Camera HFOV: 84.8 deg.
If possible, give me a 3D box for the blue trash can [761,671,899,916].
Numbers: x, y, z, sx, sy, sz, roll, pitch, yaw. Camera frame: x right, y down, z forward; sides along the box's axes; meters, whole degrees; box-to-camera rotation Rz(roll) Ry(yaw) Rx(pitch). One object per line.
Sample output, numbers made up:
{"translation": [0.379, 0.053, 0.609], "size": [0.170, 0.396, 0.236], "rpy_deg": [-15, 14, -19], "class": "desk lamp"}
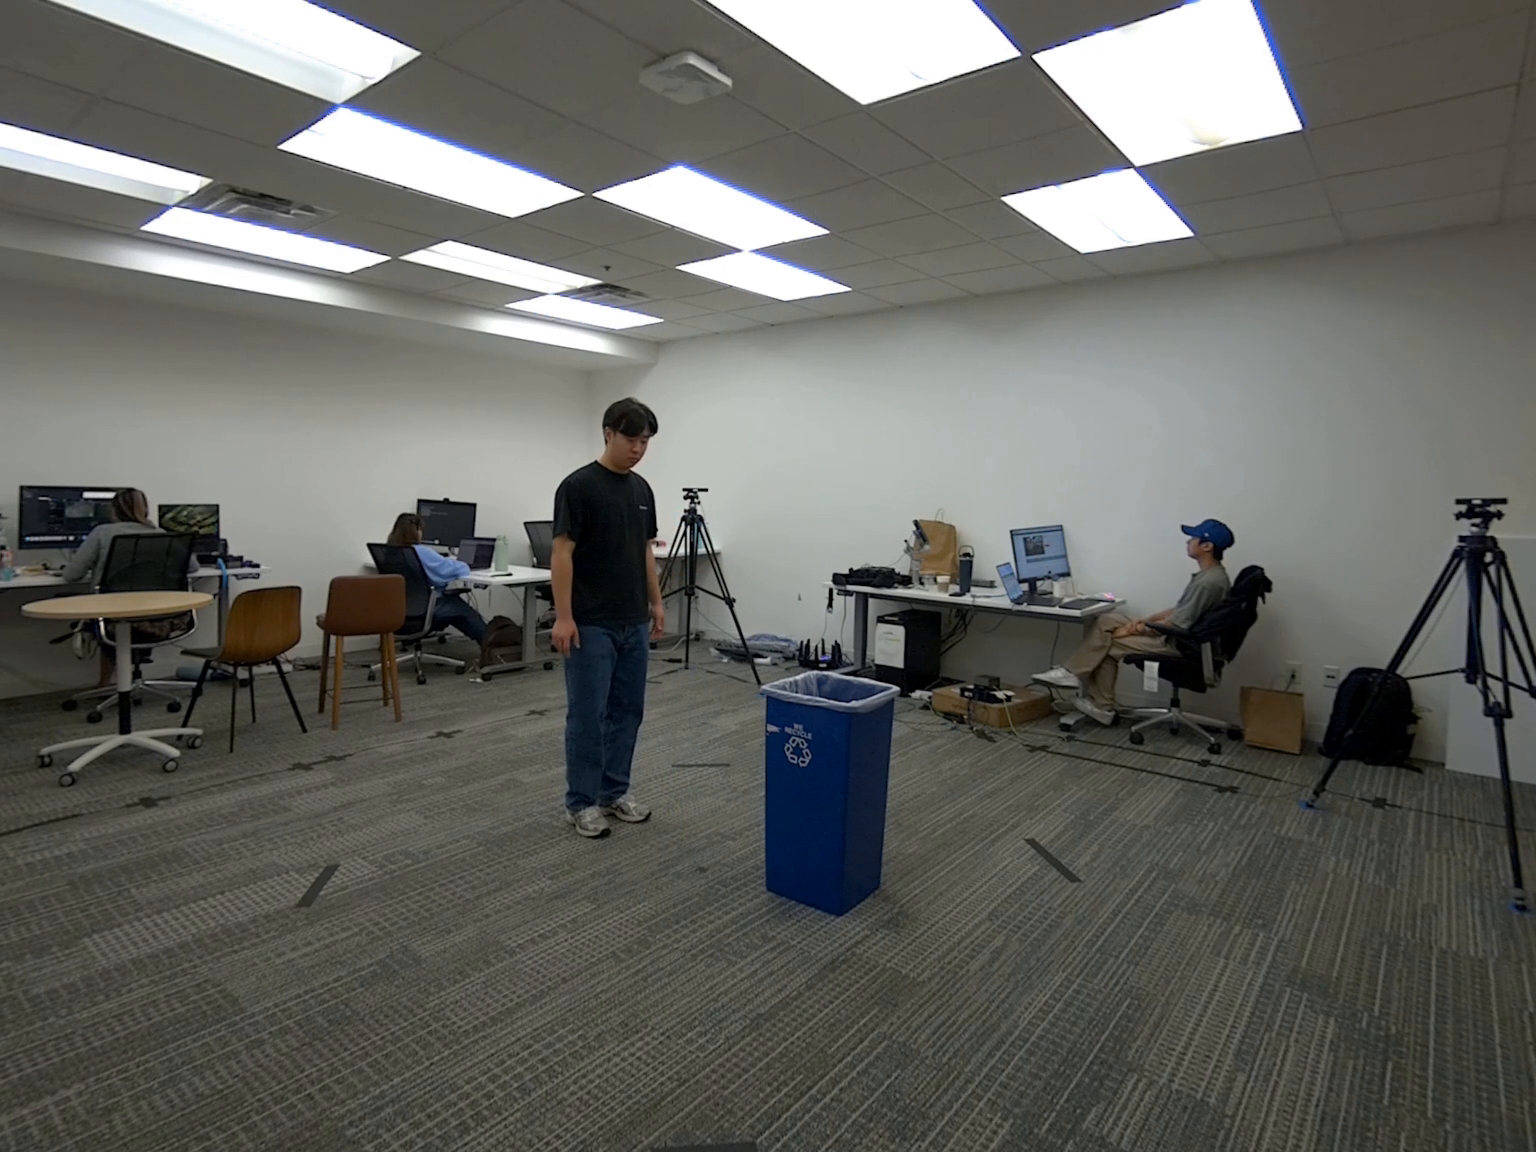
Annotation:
{"translation": [0.206, 0.733, 2.968], "size": [0.386, 0.711, 0.367], "rpy_deg": [3, 4, 35], "class": "blue trash can"}
